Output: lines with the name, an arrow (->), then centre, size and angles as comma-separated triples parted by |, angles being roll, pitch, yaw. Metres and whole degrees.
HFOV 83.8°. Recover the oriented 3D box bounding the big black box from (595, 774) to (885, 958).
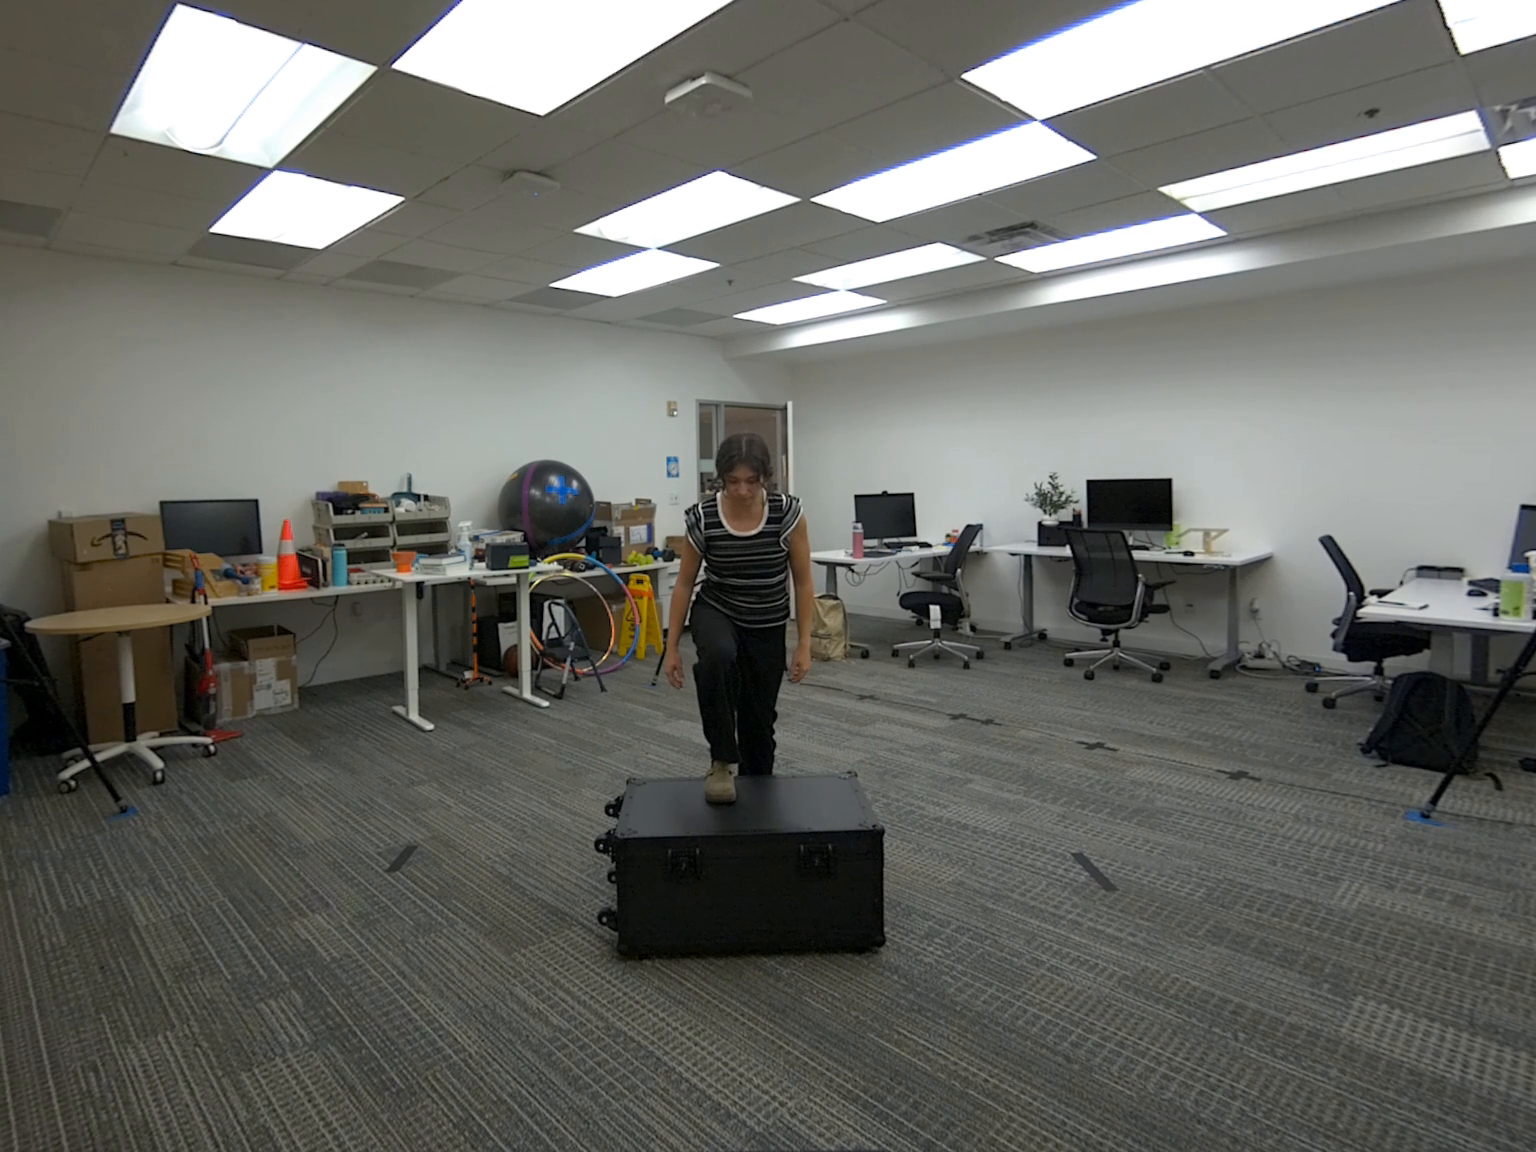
big black box -> -0.099, 0.898, 2.716 | 0.860, 0.395, 0.525 | -1, 5, -3
